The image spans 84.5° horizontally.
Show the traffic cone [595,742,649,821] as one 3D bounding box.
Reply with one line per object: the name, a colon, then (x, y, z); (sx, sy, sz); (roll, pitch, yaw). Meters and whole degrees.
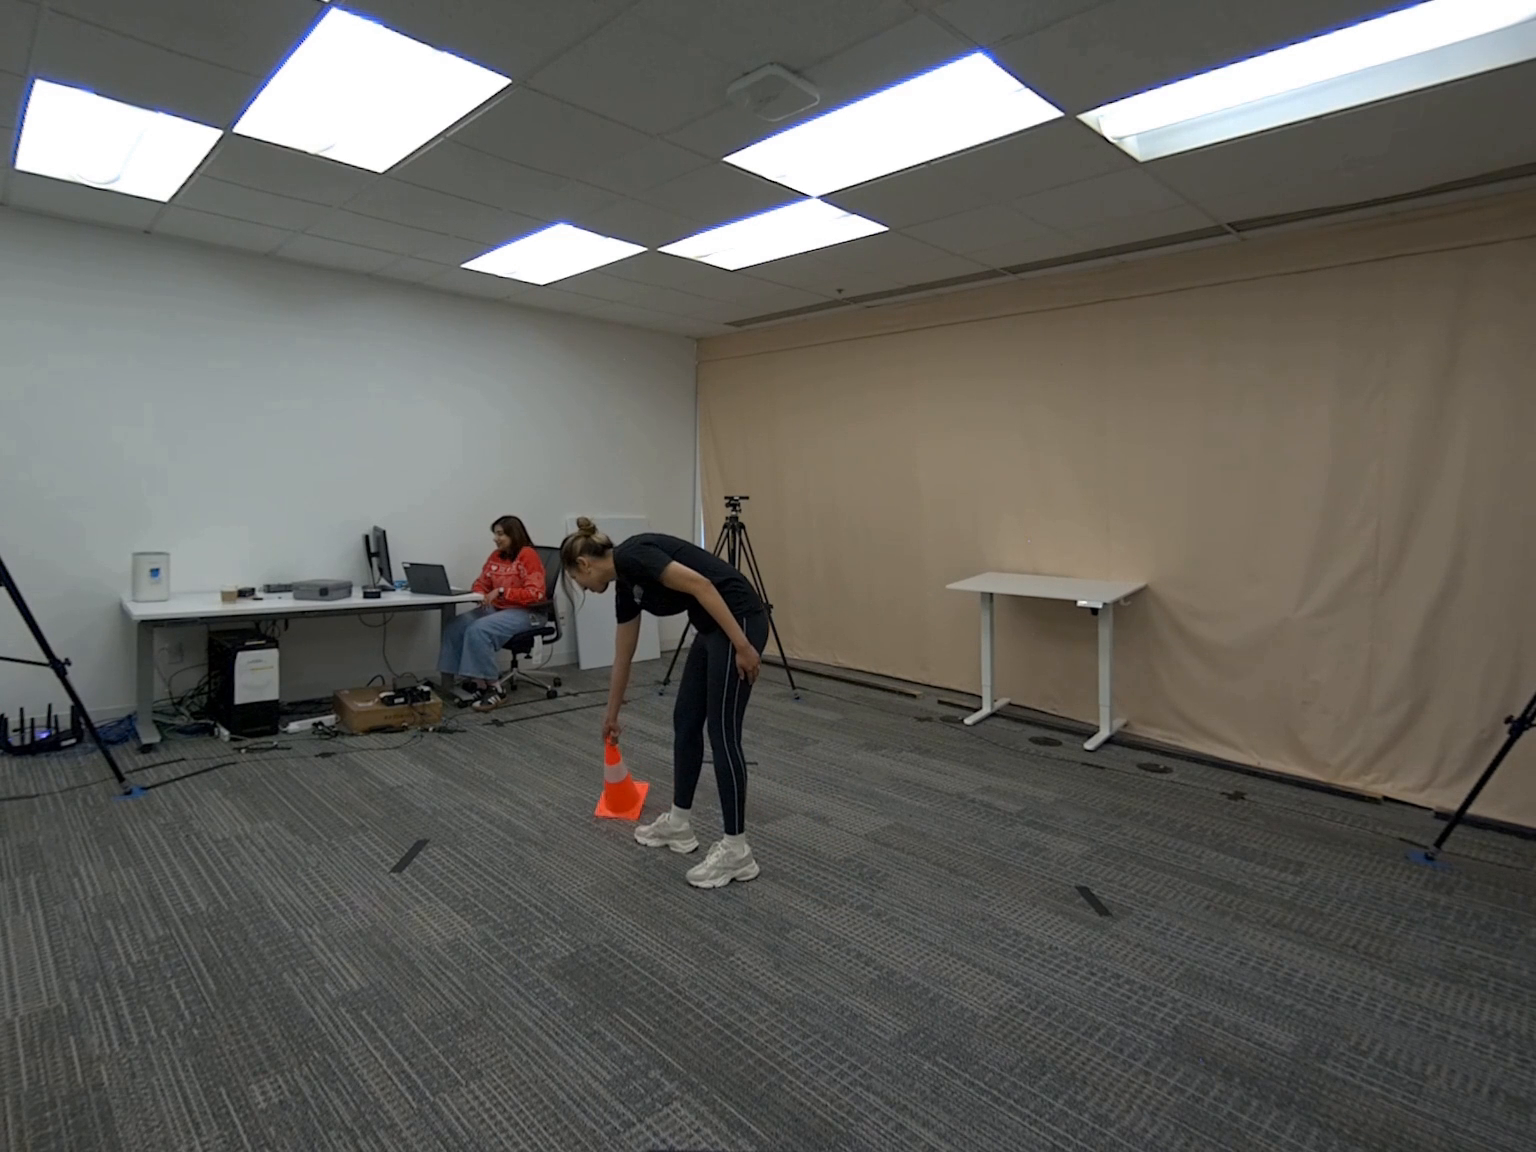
traffic cone: (-0.669, 0.841, 3.601); (0.206, 0.375, 0.207); (4, 35, 14)
